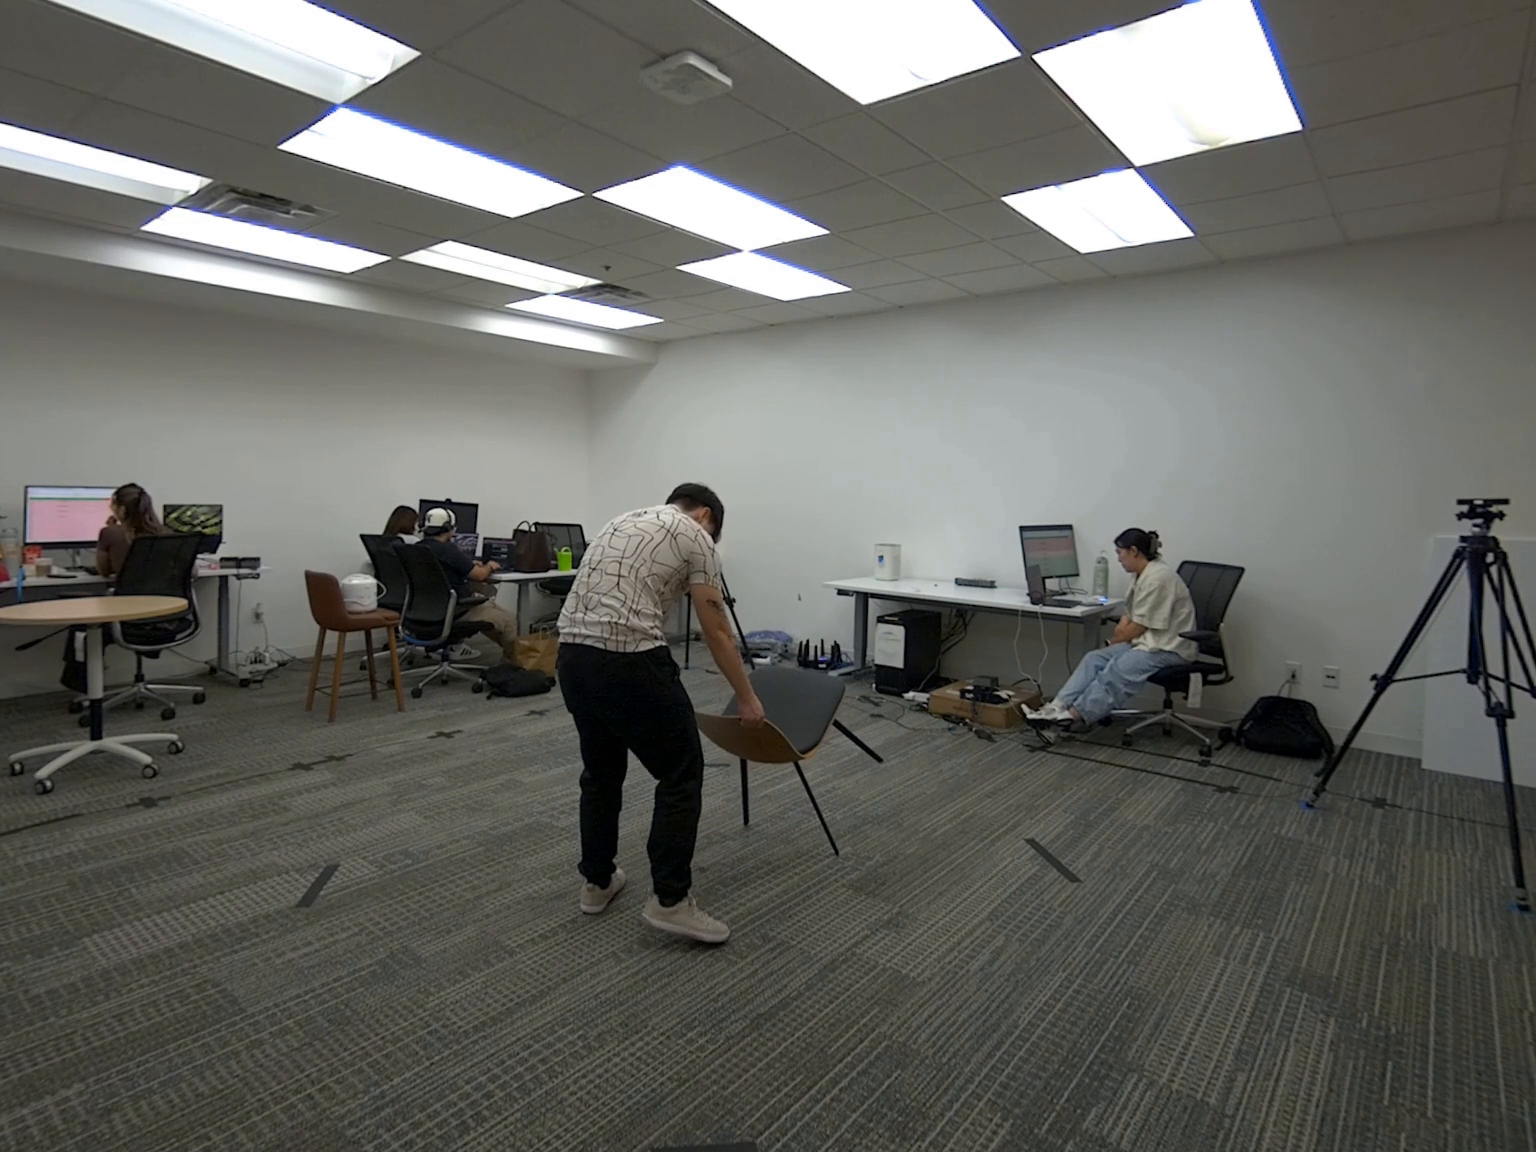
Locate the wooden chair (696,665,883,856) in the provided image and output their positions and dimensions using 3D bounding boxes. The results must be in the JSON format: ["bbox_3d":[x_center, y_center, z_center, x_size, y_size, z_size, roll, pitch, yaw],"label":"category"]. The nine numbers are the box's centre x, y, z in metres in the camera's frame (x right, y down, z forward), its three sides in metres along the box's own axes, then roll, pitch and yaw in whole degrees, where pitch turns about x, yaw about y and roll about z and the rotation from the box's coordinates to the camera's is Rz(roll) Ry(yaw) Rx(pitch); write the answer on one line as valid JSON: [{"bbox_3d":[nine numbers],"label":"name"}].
[{"bbox_3d":[0.036,0.577,3.296,0.494,0.844,0.526,5,49,38],"label":"wooden chair"}]
